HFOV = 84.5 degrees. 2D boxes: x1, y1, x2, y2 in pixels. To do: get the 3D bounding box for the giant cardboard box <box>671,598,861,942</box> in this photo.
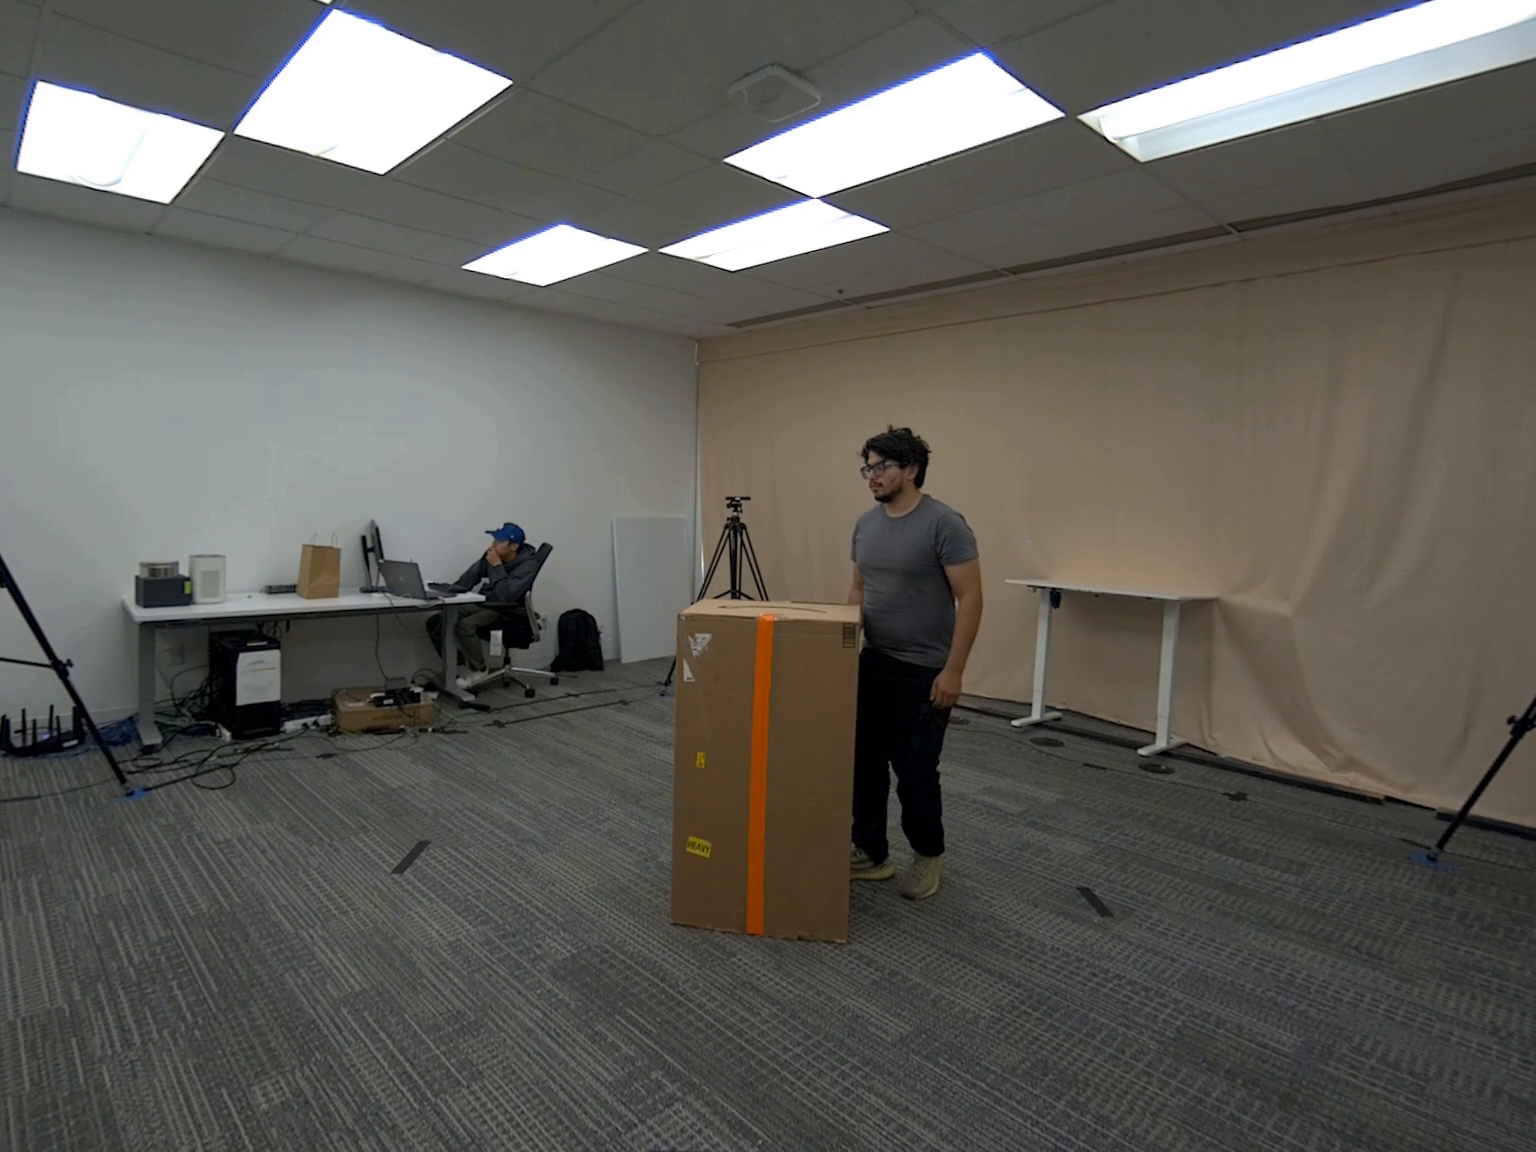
[{"bbox_3d":[0.002,0.622,2.864,0.588,1.025,0.444,2,3,8],"label":"giant cardboard box"}]
